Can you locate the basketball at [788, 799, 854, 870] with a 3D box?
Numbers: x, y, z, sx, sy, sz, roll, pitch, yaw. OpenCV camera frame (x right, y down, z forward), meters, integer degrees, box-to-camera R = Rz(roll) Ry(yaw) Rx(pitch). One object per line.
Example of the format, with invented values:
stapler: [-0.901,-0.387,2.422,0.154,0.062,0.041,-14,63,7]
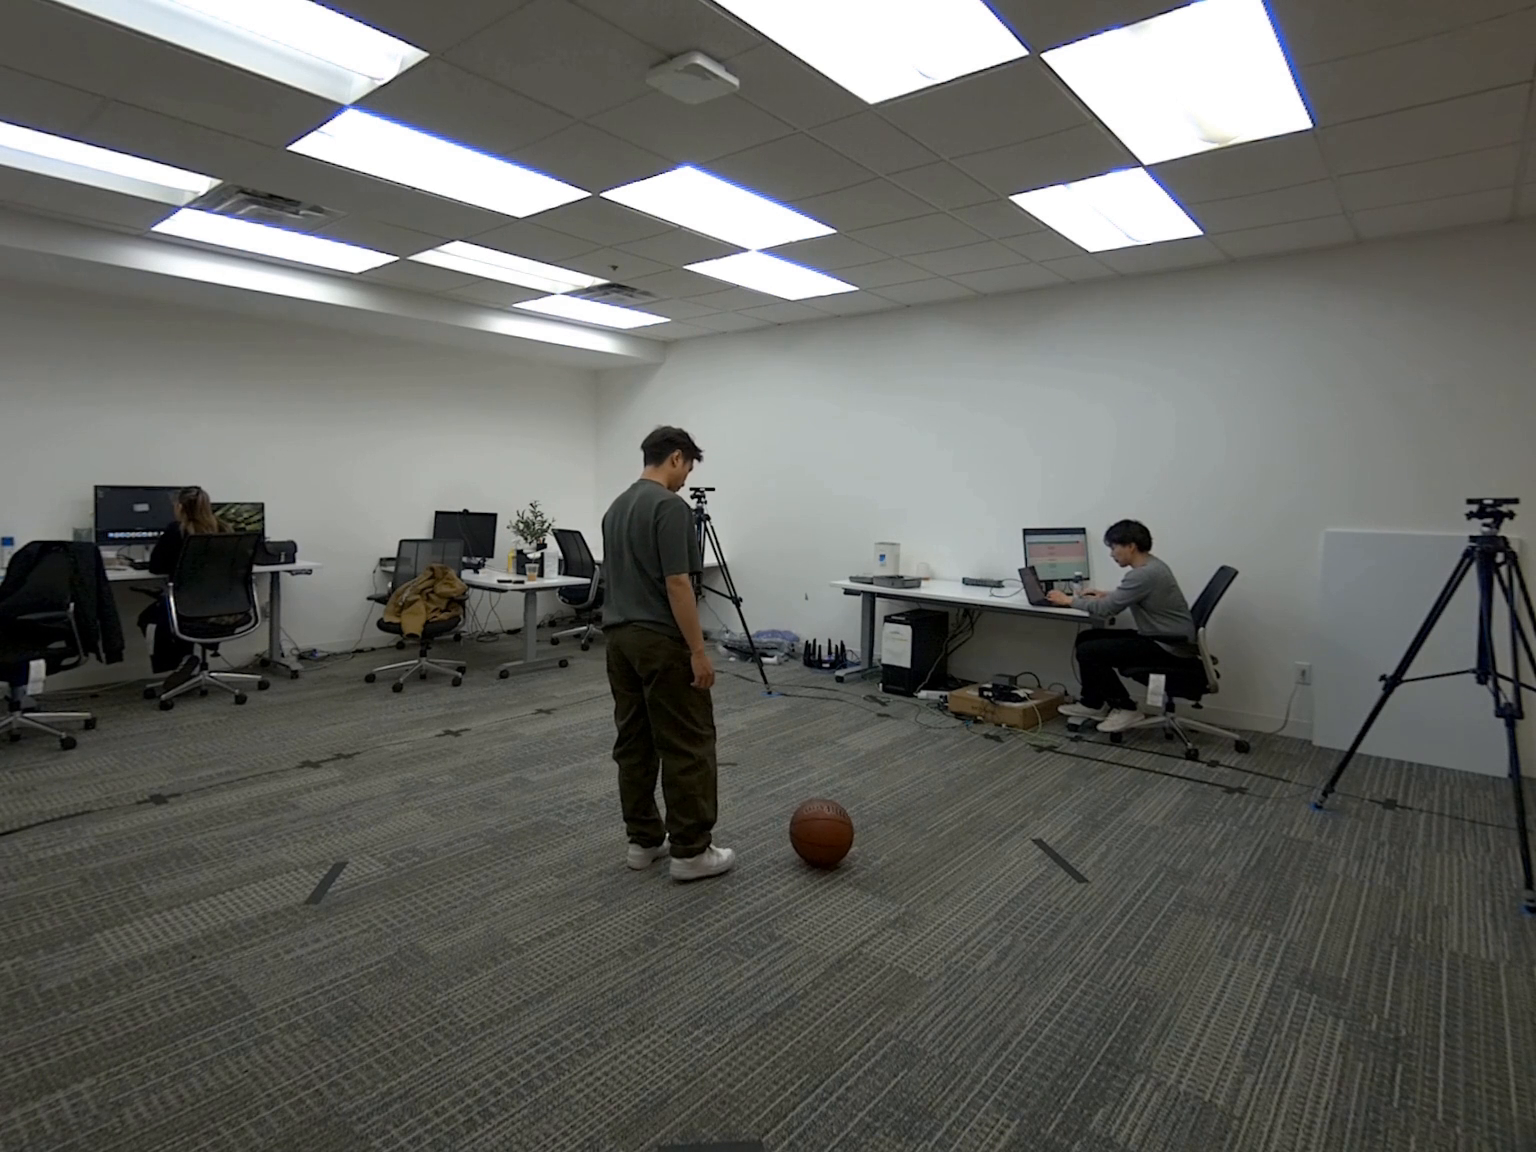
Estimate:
basketball: [0.189,0.952,3.171,0.235,0.235,0.237,1,4,-2]
